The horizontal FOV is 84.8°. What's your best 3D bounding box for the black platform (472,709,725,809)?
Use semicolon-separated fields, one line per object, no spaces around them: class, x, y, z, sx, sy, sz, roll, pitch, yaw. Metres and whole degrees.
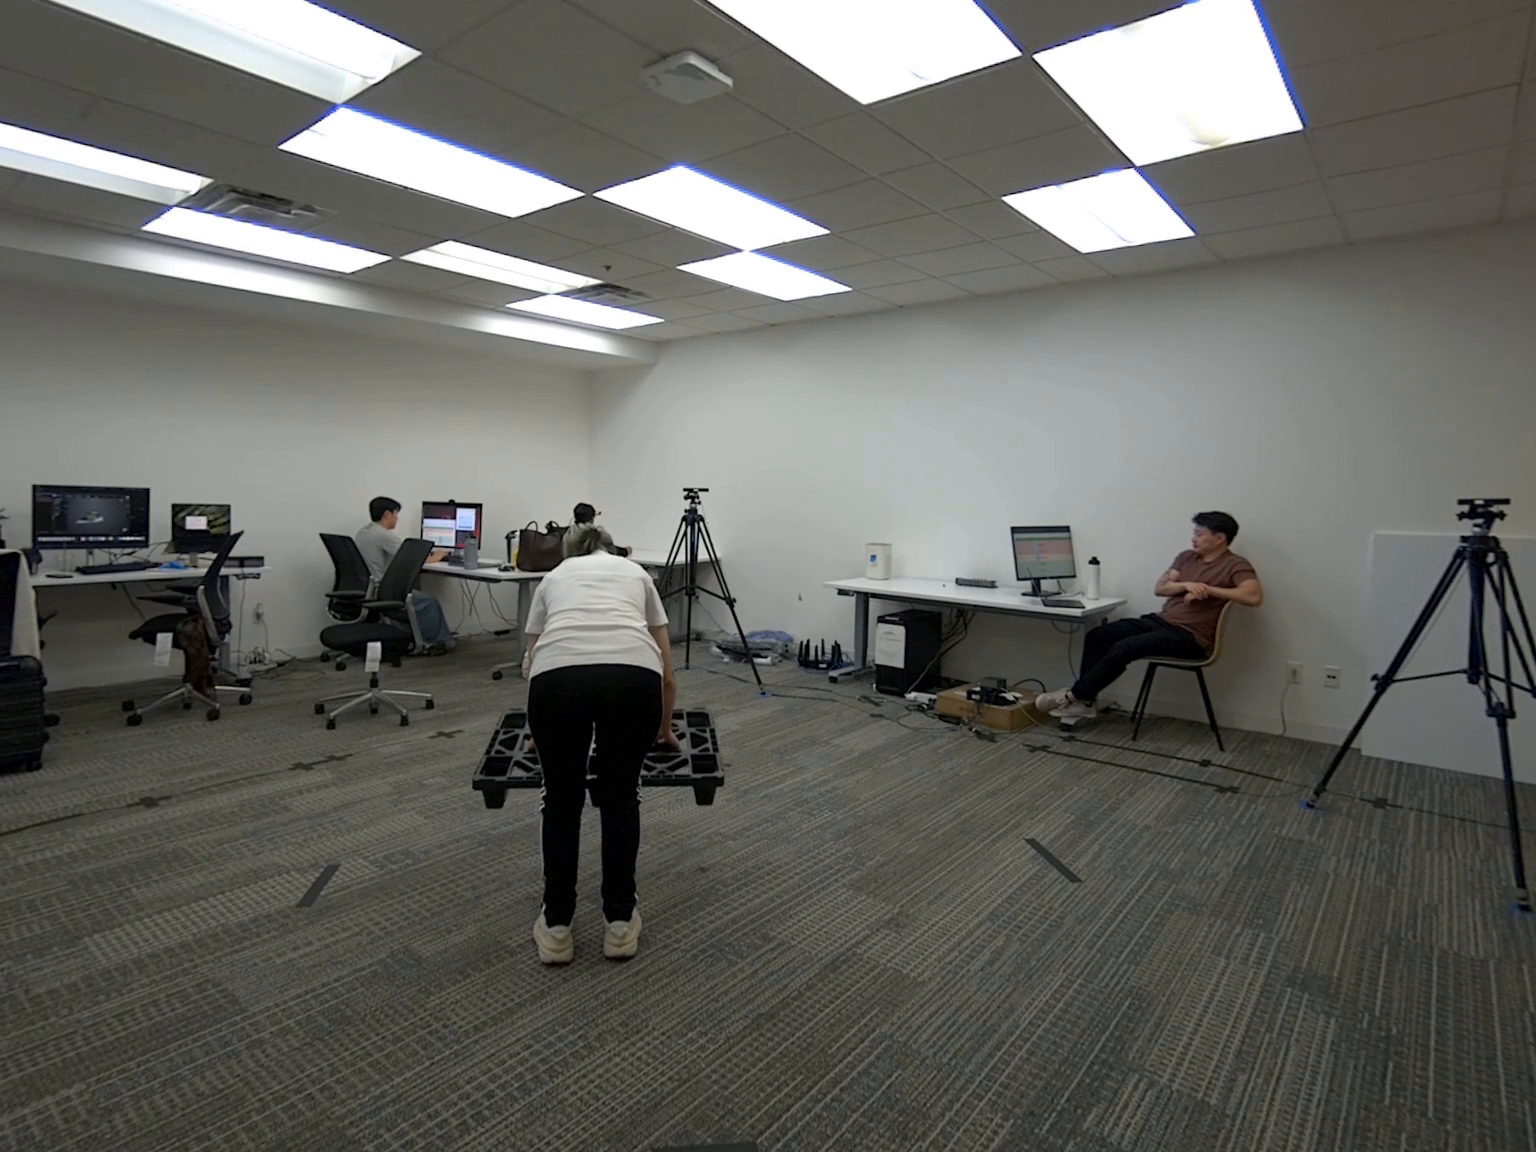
black platform;-0.579;0.638;2.983;0.801;0.142;0.615;0;13;-5
